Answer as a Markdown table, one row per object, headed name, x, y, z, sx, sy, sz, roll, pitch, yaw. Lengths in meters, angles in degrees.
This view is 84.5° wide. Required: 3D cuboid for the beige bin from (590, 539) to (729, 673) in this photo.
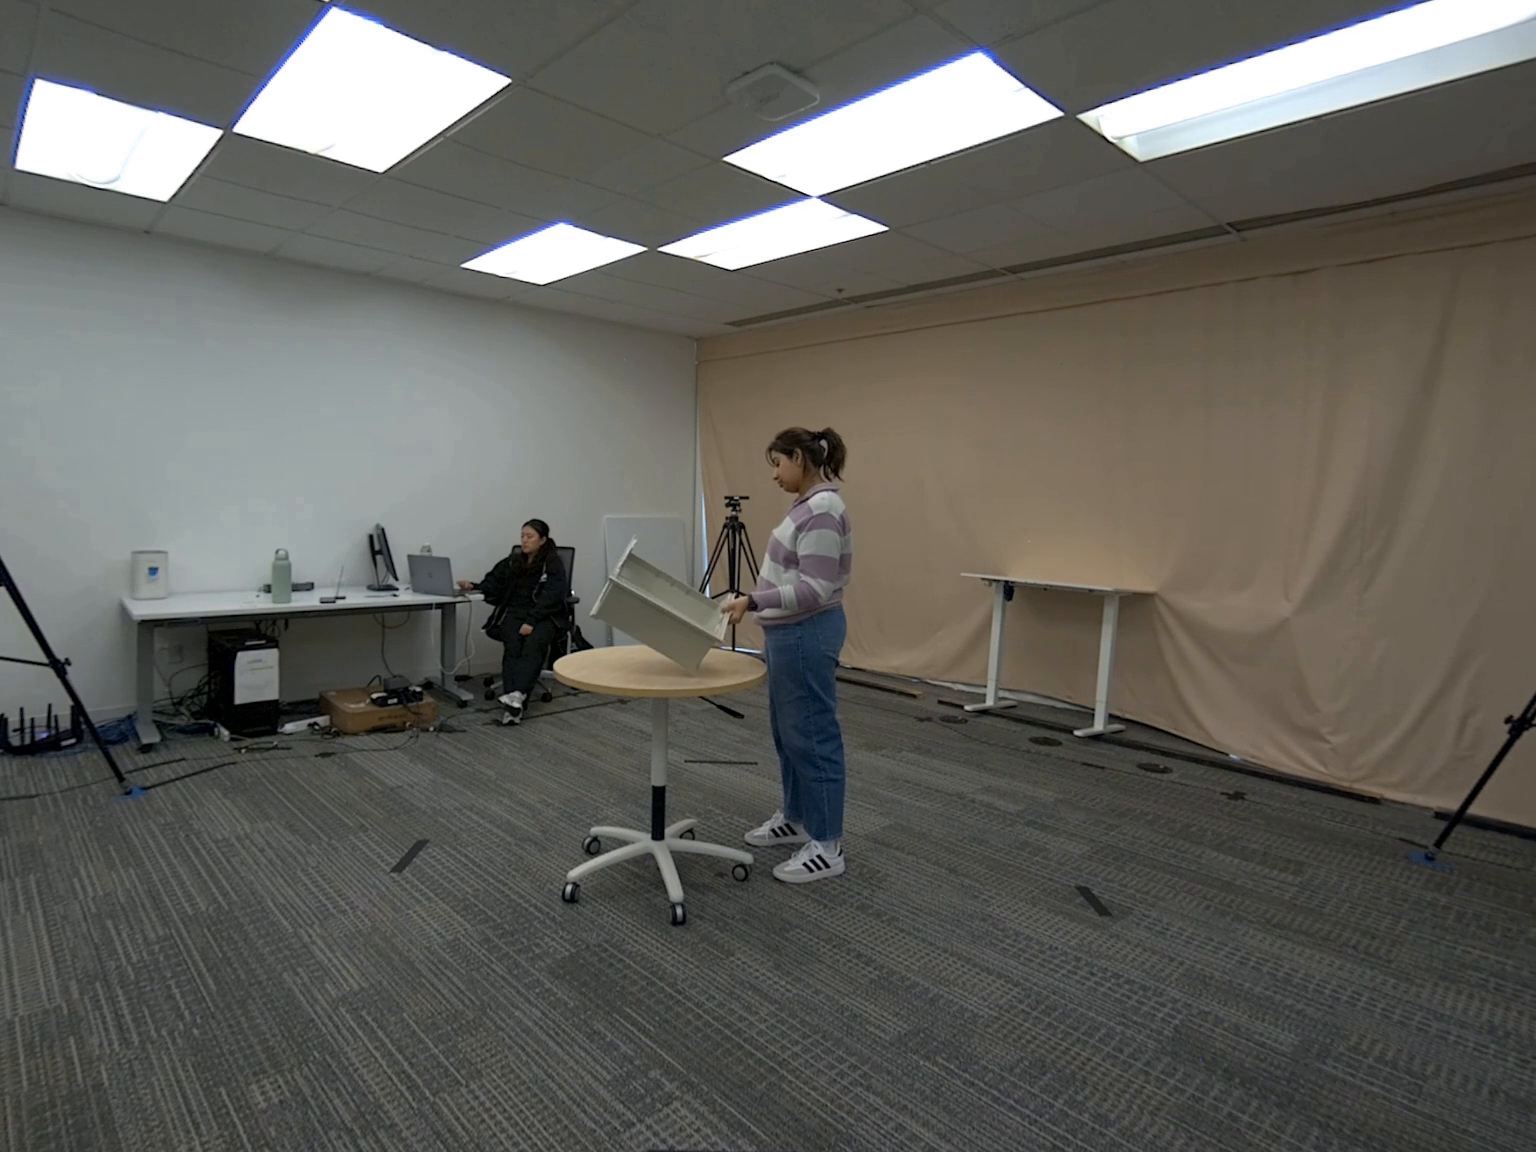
| name | x | y | z | sx | sy | sz | roll | pitch | yaw |
| --- | --- | --- | --- | --- | --- | --- | --- | --- | --- |
| beige bin | -0.367 | 0.090 | 2.929 | 0.419 | 0.188 | 0.382 | 31 | 25 | -8 |
